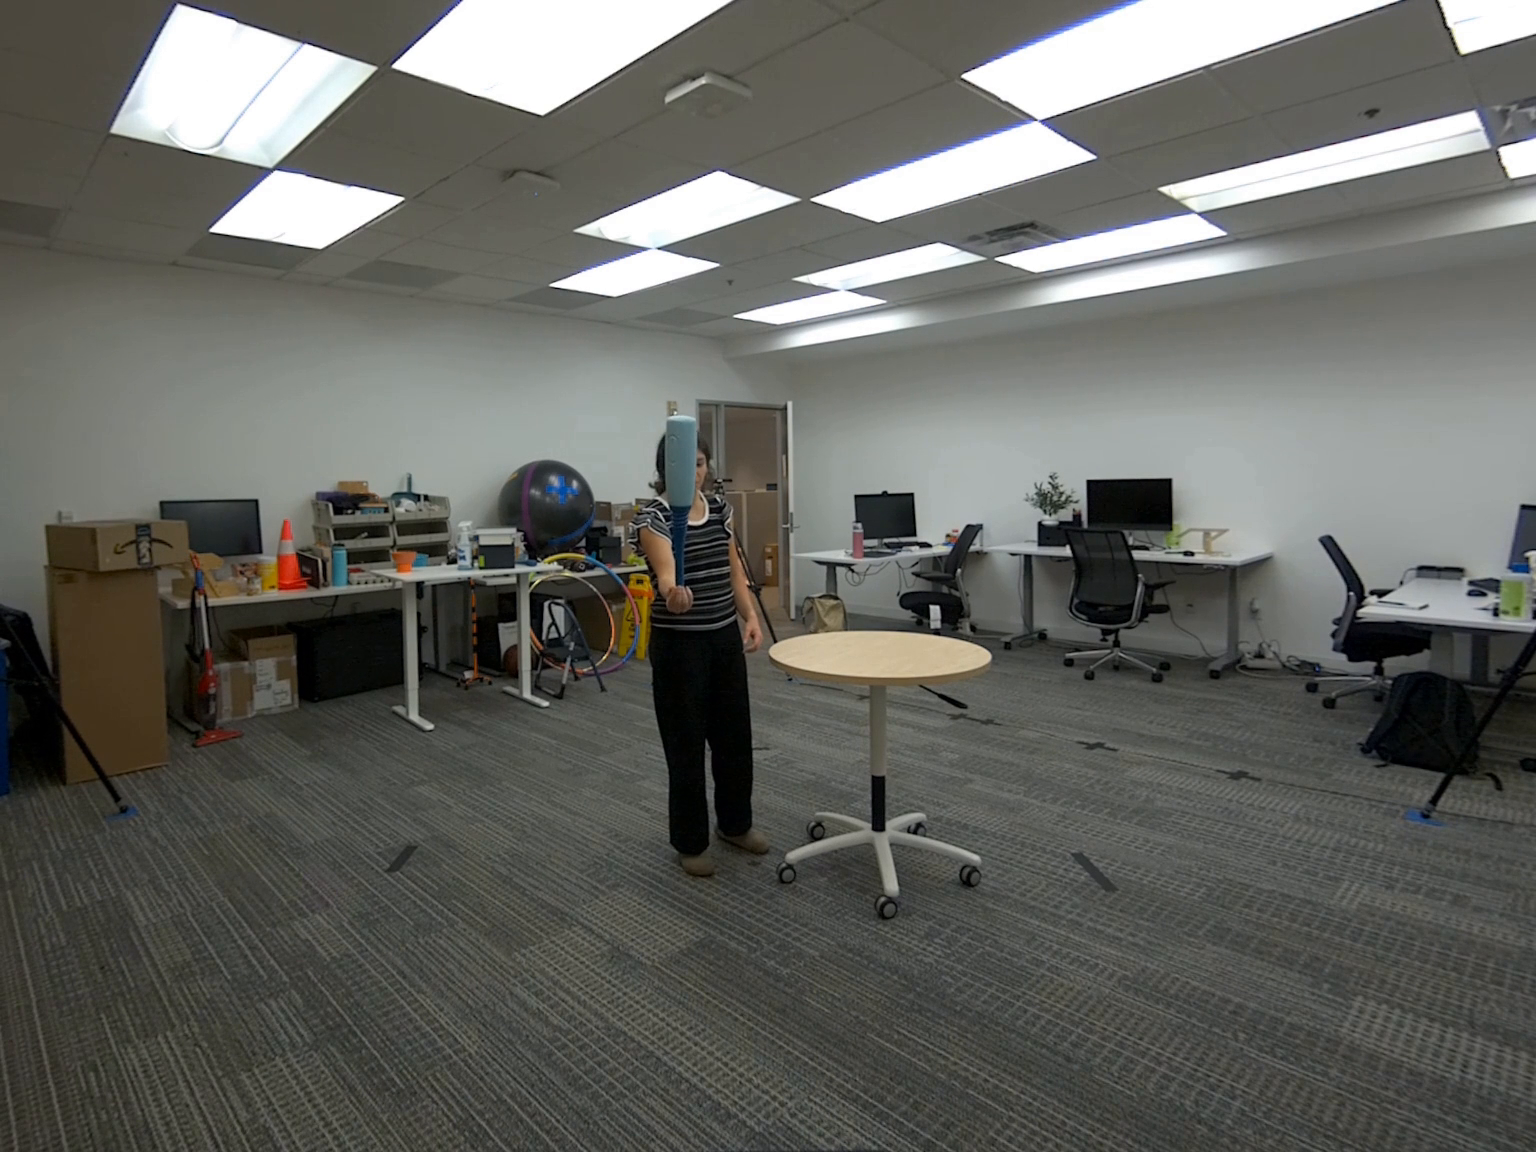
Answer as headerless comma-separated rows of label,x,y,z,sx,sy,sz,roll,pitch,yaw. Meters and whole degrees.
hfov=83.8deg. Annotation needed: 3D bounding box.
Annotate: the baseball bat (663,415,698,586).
baseball bat,-0.254,-0.186,2.455,0.089,0.536,0.090,1,14,-2
